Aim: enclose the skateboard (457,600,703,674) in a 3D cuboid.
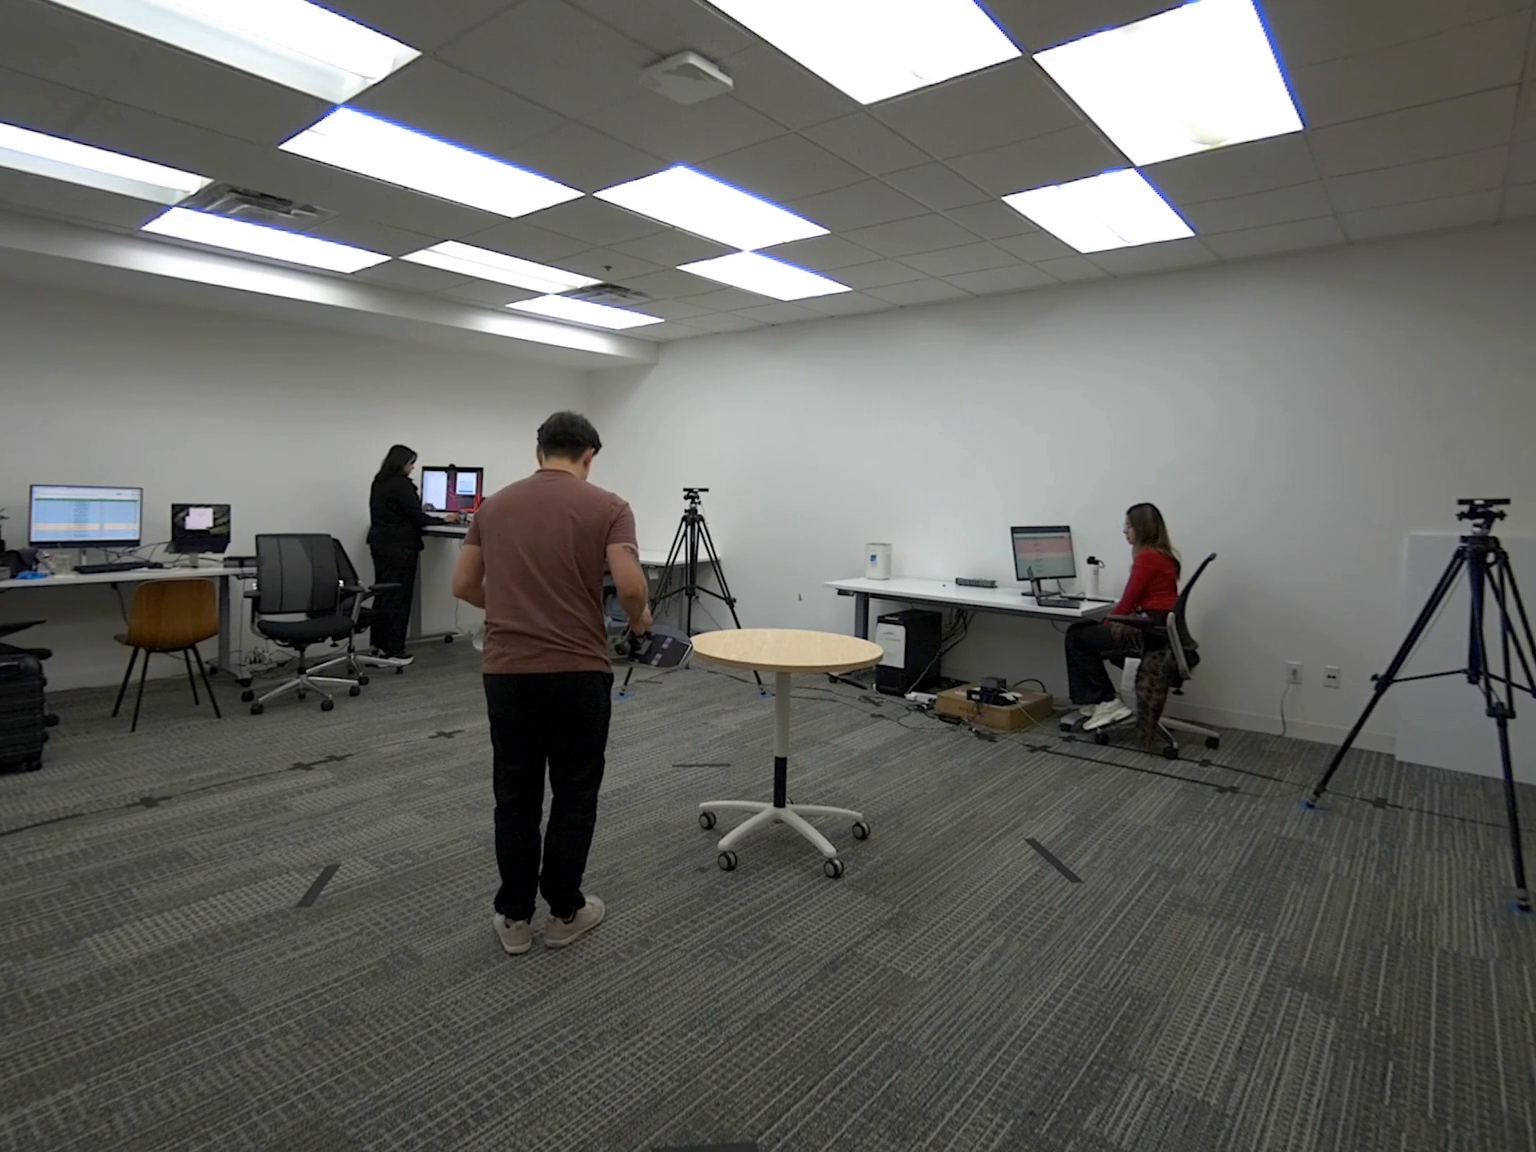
[{"bbox_3d":[-0.628,0.181,2.803,0.798,0.107,0.196,3,40,15],"label":"skateboard"}]
